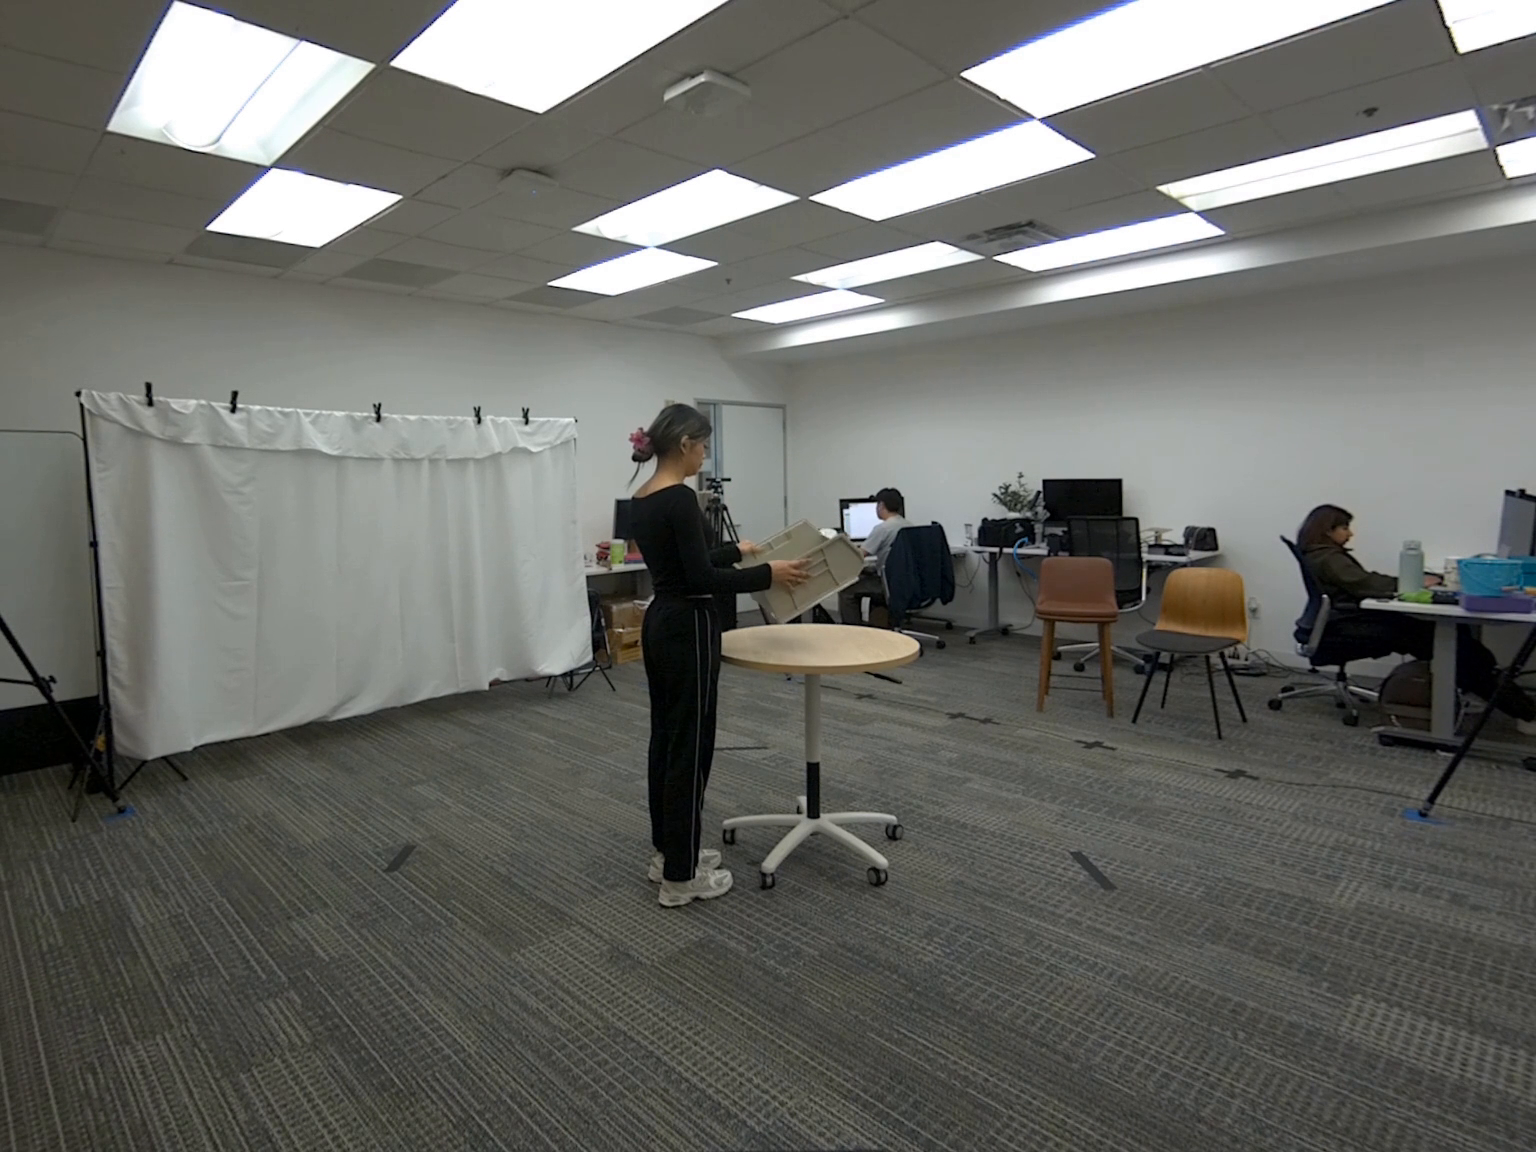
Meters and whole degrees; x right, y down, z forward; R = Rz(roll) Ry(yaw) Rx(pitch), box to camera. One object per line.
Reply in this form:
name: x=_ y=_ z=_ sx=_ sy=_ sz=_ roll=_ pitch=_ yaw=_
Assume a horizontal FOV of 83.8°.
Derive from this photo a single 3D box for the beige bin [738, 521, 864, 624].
beige bin: x=0.109 y=-0.027 z=3.108 sx=0.376 sy=0.185 sz=0.432 roll=-30 pitch=18 yaw=-8
